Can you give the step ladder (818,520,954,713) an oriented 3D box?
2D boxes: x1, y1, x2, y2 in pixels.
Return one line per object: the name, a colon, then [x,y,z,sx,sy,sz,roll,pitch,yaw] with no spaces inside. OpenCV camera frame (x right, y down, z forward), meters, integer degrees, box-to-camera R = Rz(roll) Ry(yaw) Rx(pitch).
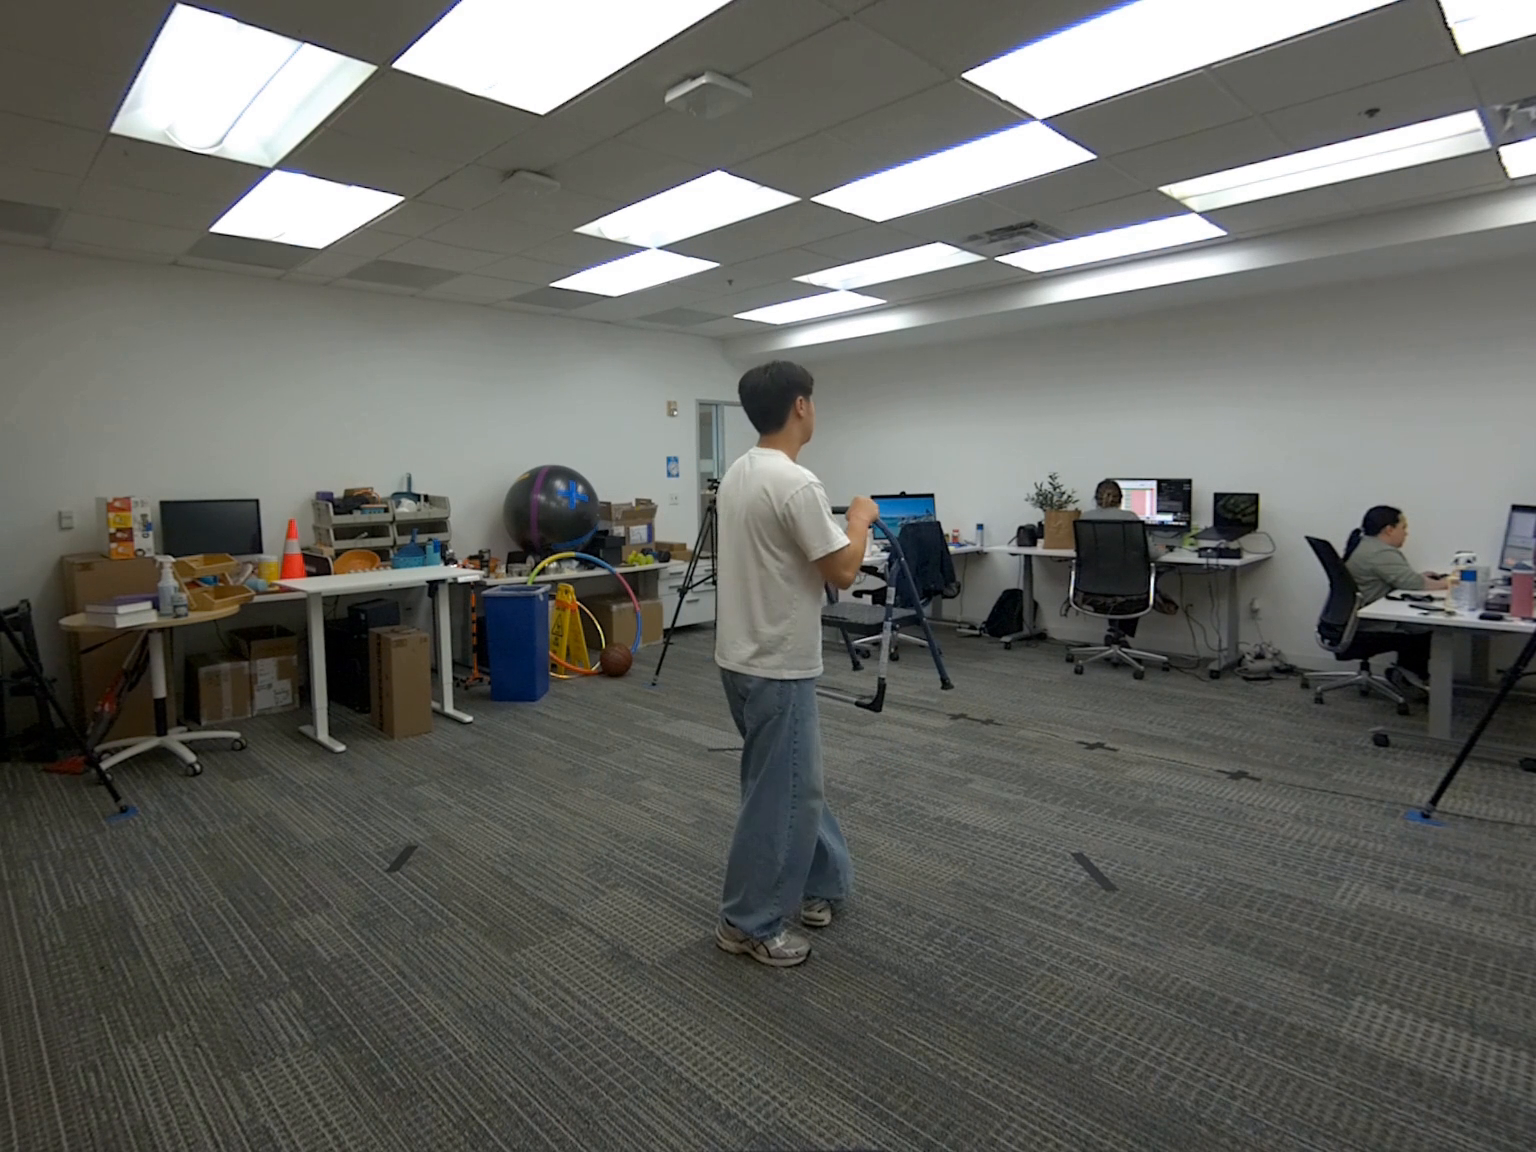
step ladder: [0.301,0.070,2.766,0.341,0.602,0.443,-10,8,-37]
